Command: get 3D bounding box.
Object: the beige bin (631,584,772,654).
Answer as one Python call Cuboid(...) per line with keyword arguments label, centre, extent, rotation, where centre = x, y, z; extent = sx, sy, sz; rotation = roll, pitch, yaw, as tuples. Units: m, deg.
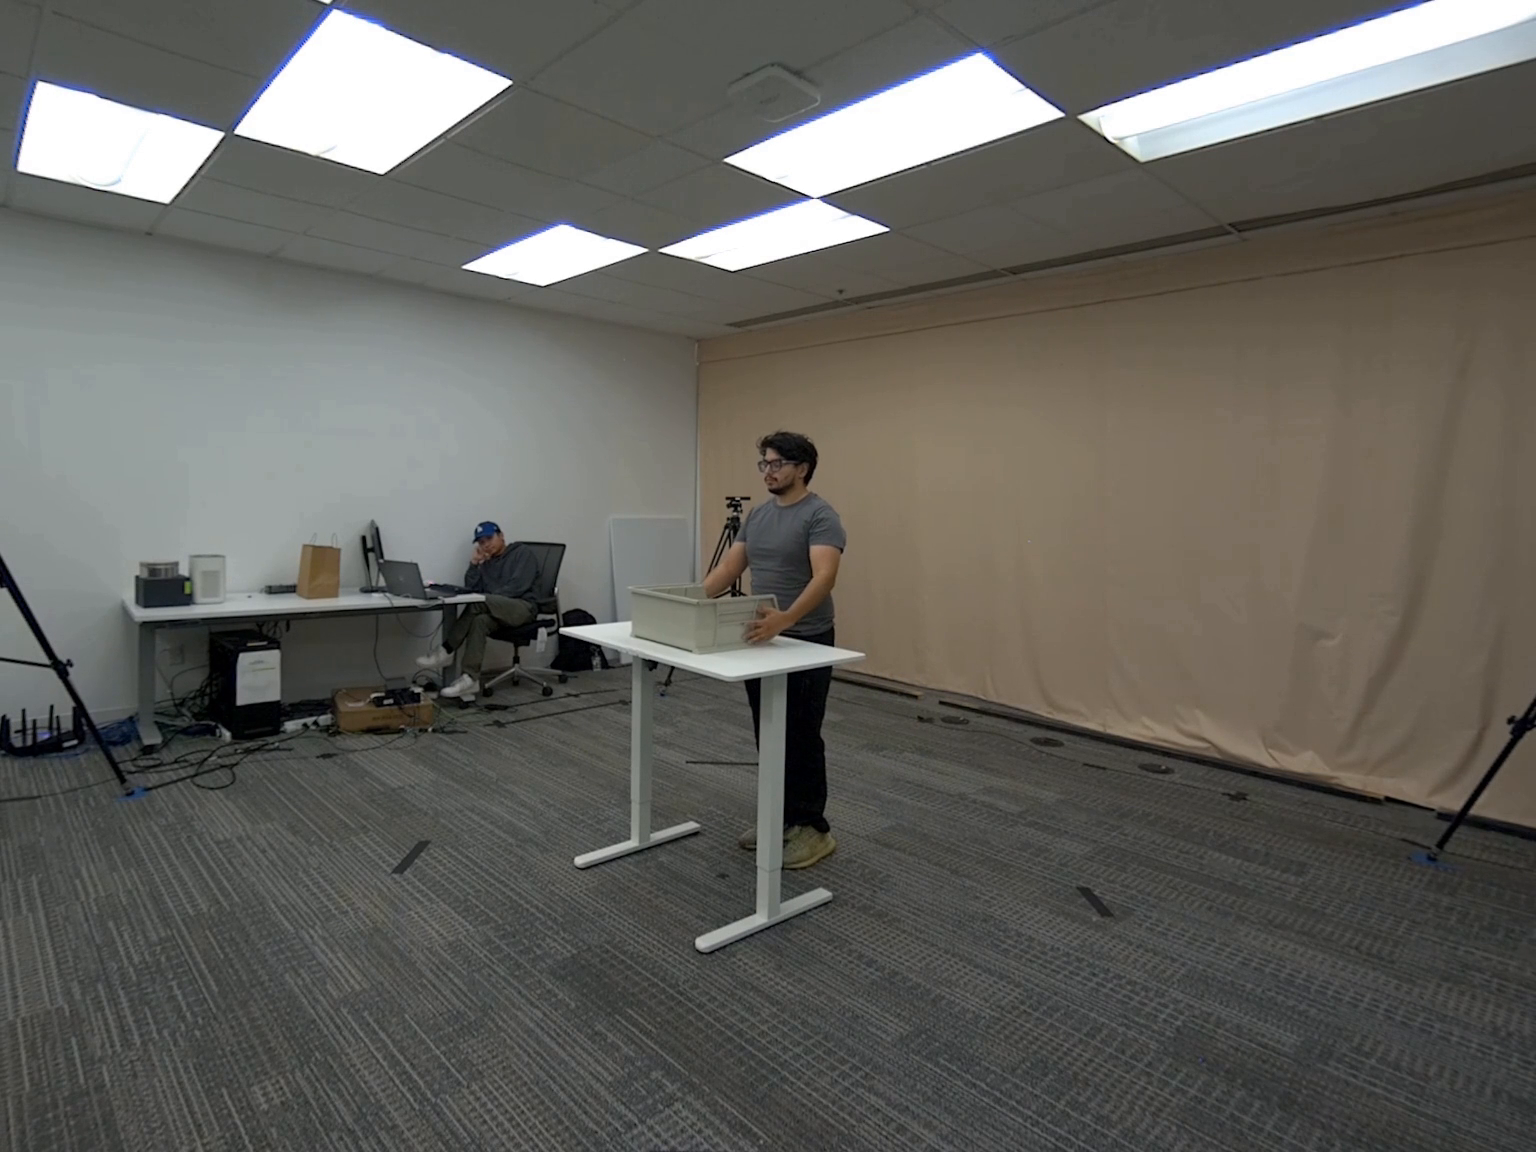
Cuboid(label="beige bin", centre=(-0.246, 0.149, 2.986), extent=(0.369, 0.188, 0.433), rotation=(-4, 8, -39))
